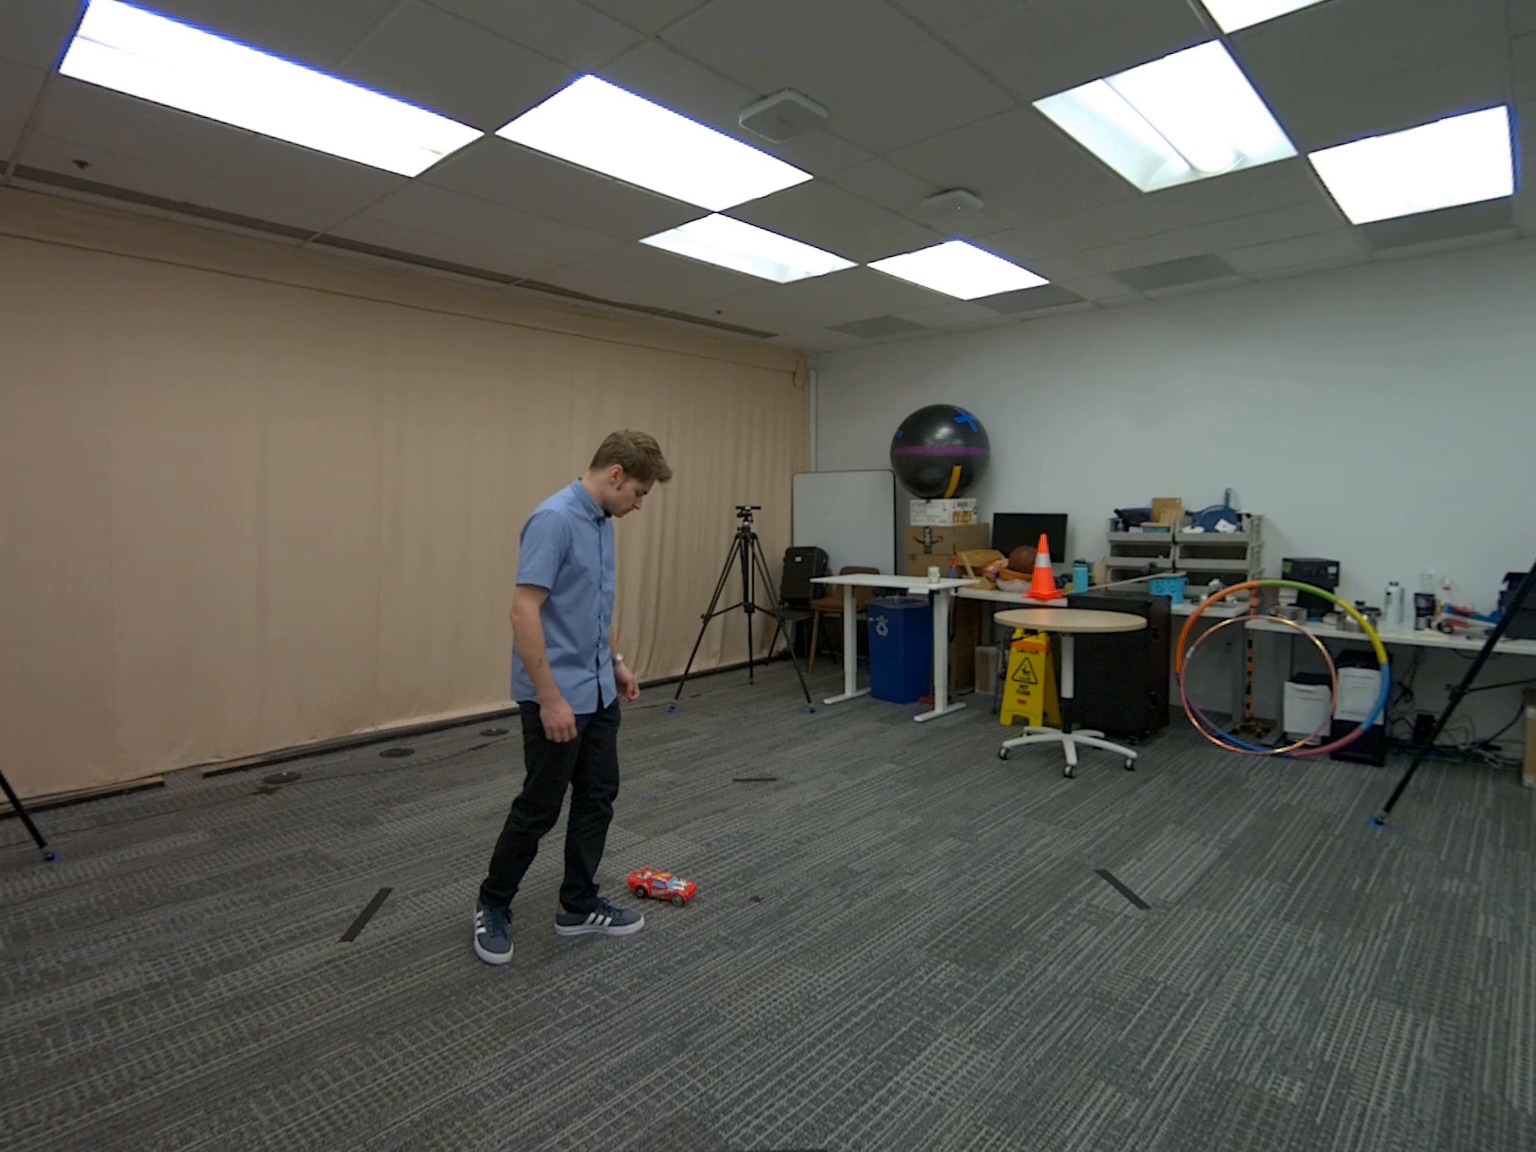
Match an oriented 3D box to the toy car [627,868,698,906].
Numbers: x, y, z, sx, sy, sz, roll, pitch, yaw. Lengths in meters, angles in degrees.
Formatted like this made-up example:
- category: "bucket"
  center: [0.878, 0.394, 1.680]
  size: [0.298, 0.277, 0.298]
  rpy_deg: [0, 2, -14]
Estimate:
- category: "toy car"
  center: [-0.386, 1.112, 3.012]
  size: [0.261, 0.083, 0.127]
  rpy_deg: [14, 9, 22]
